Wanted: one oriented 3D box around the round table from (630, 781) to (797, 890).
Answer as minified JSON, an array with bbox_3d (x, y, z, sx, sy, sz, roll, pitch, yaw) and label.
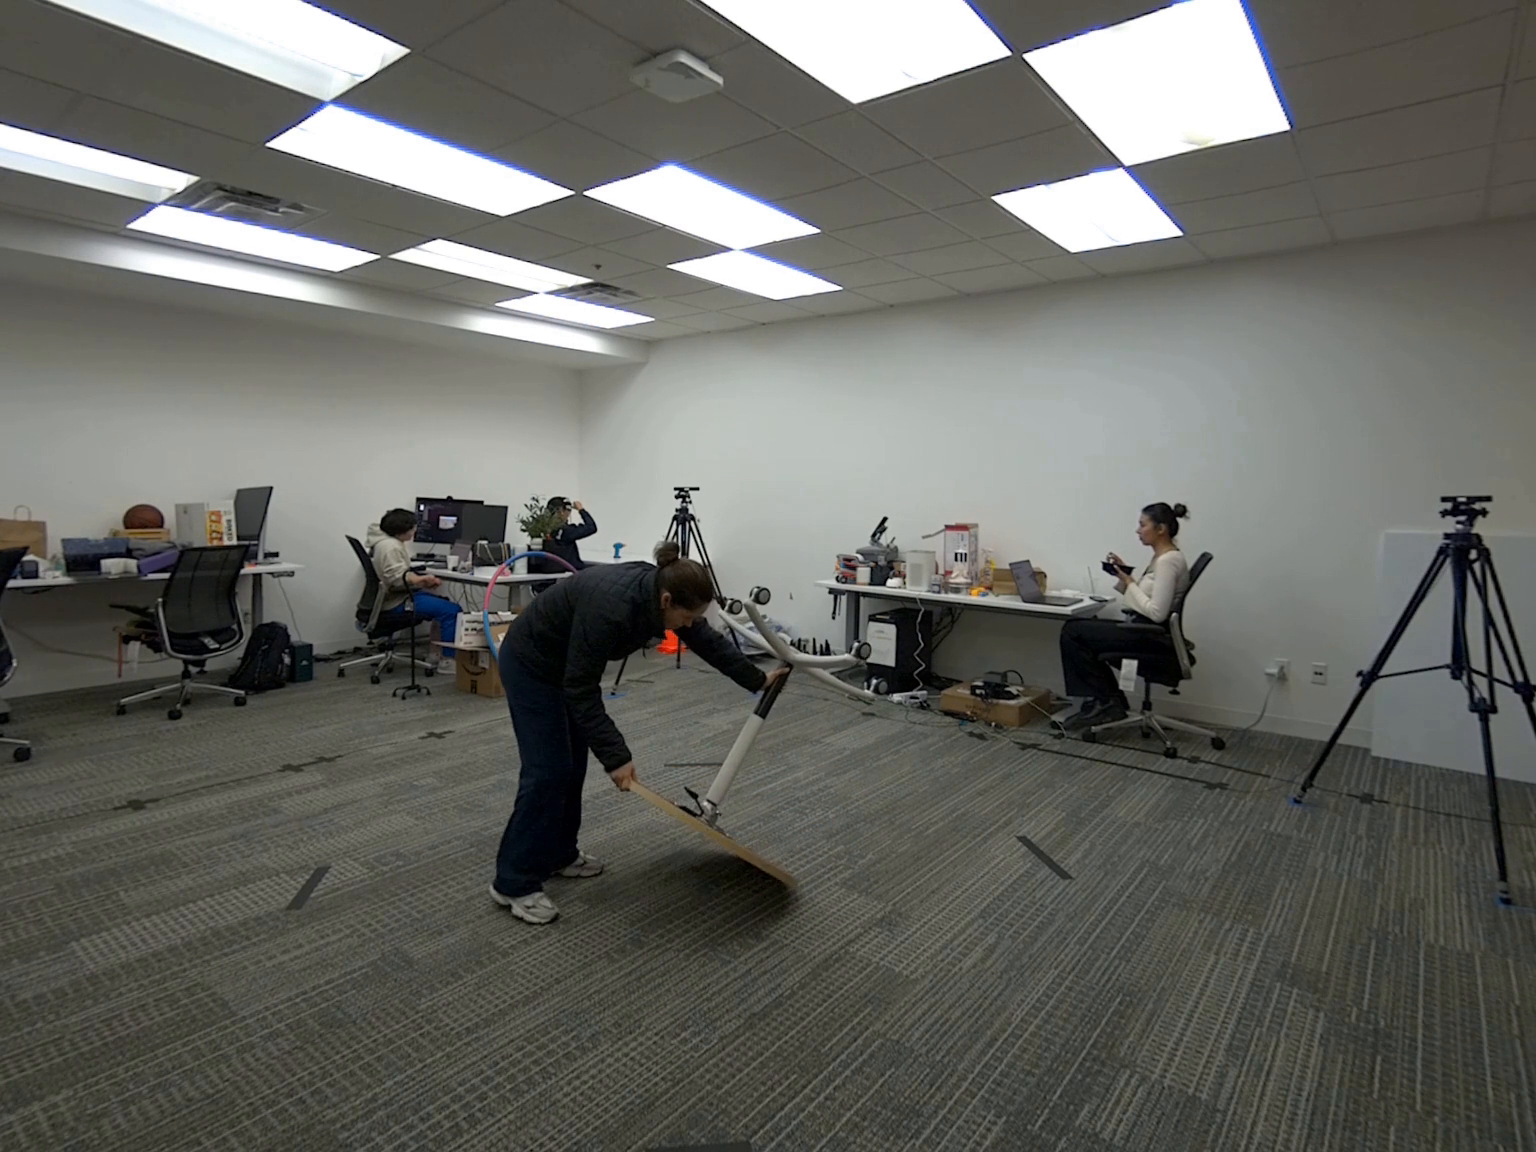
[{"bbox_3d":[-0.035,0.524,3.053,0.794,0.790,0.773,28,-16,7],"label":"round table"}]
